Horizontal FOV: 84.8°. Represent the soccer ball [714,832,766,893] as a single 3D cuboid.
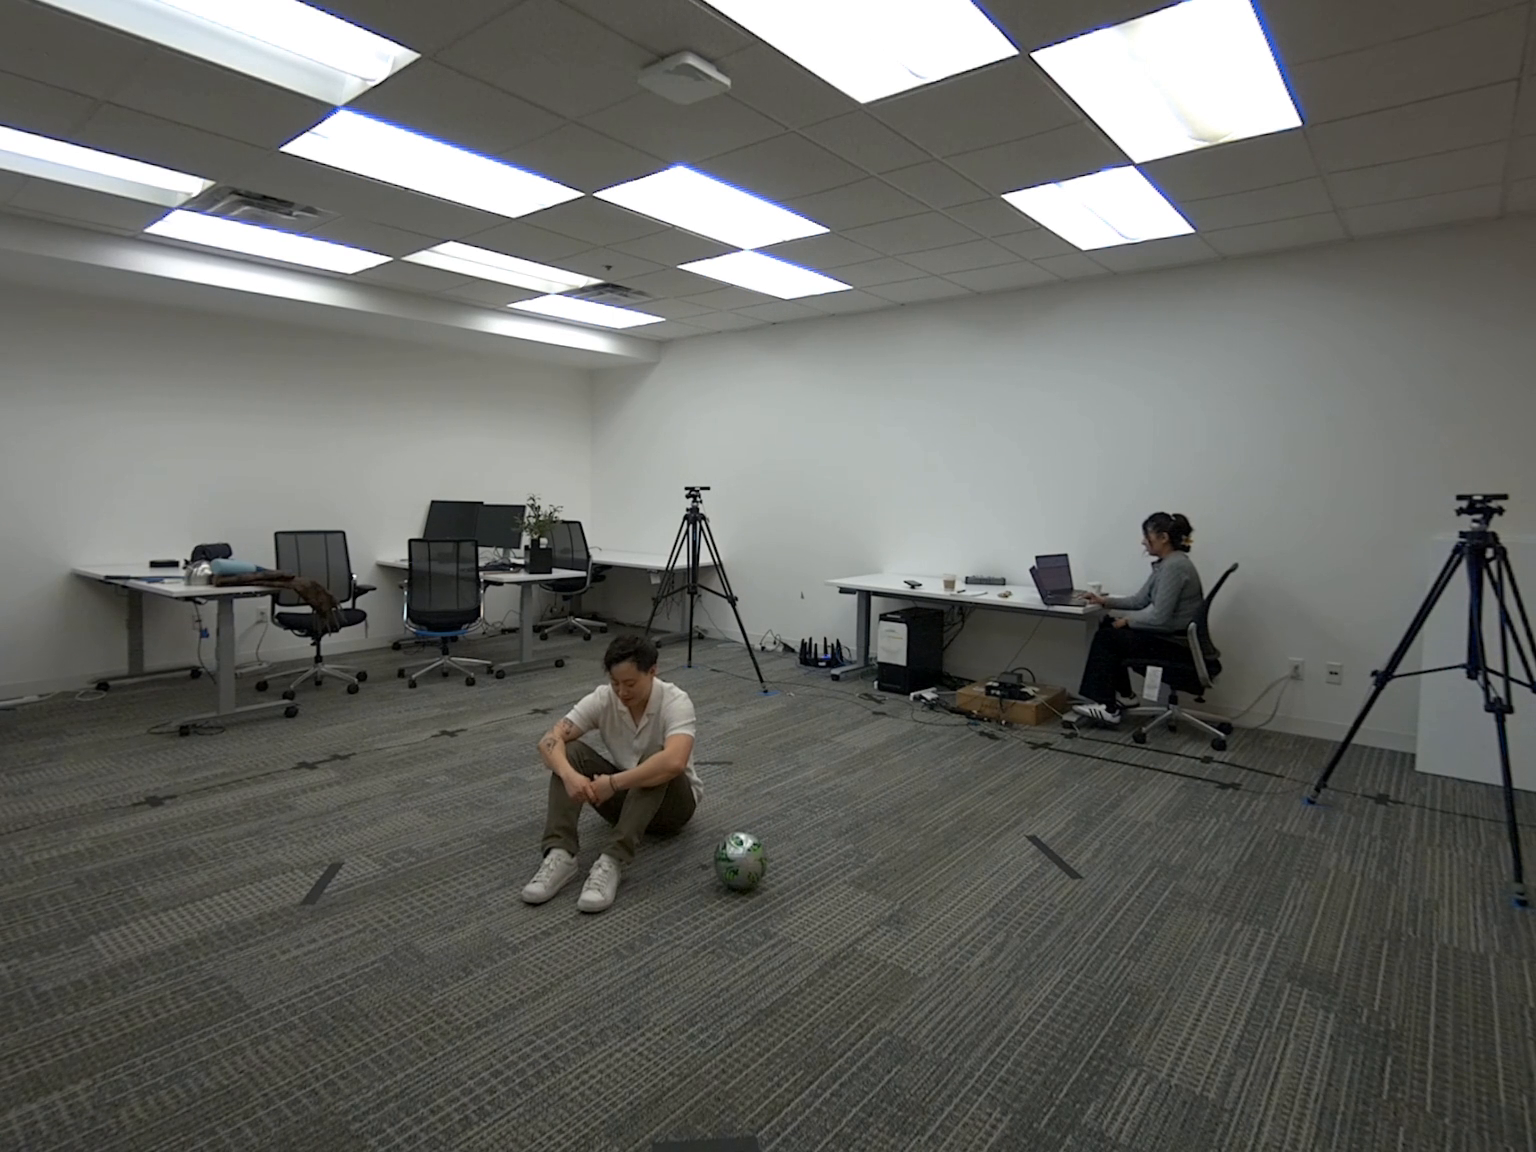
[{"bbox_3d":[-0.105,0.986,2.963,0.187,0.187,0.188,1,4,-2],"label":"soccer ball"}]
